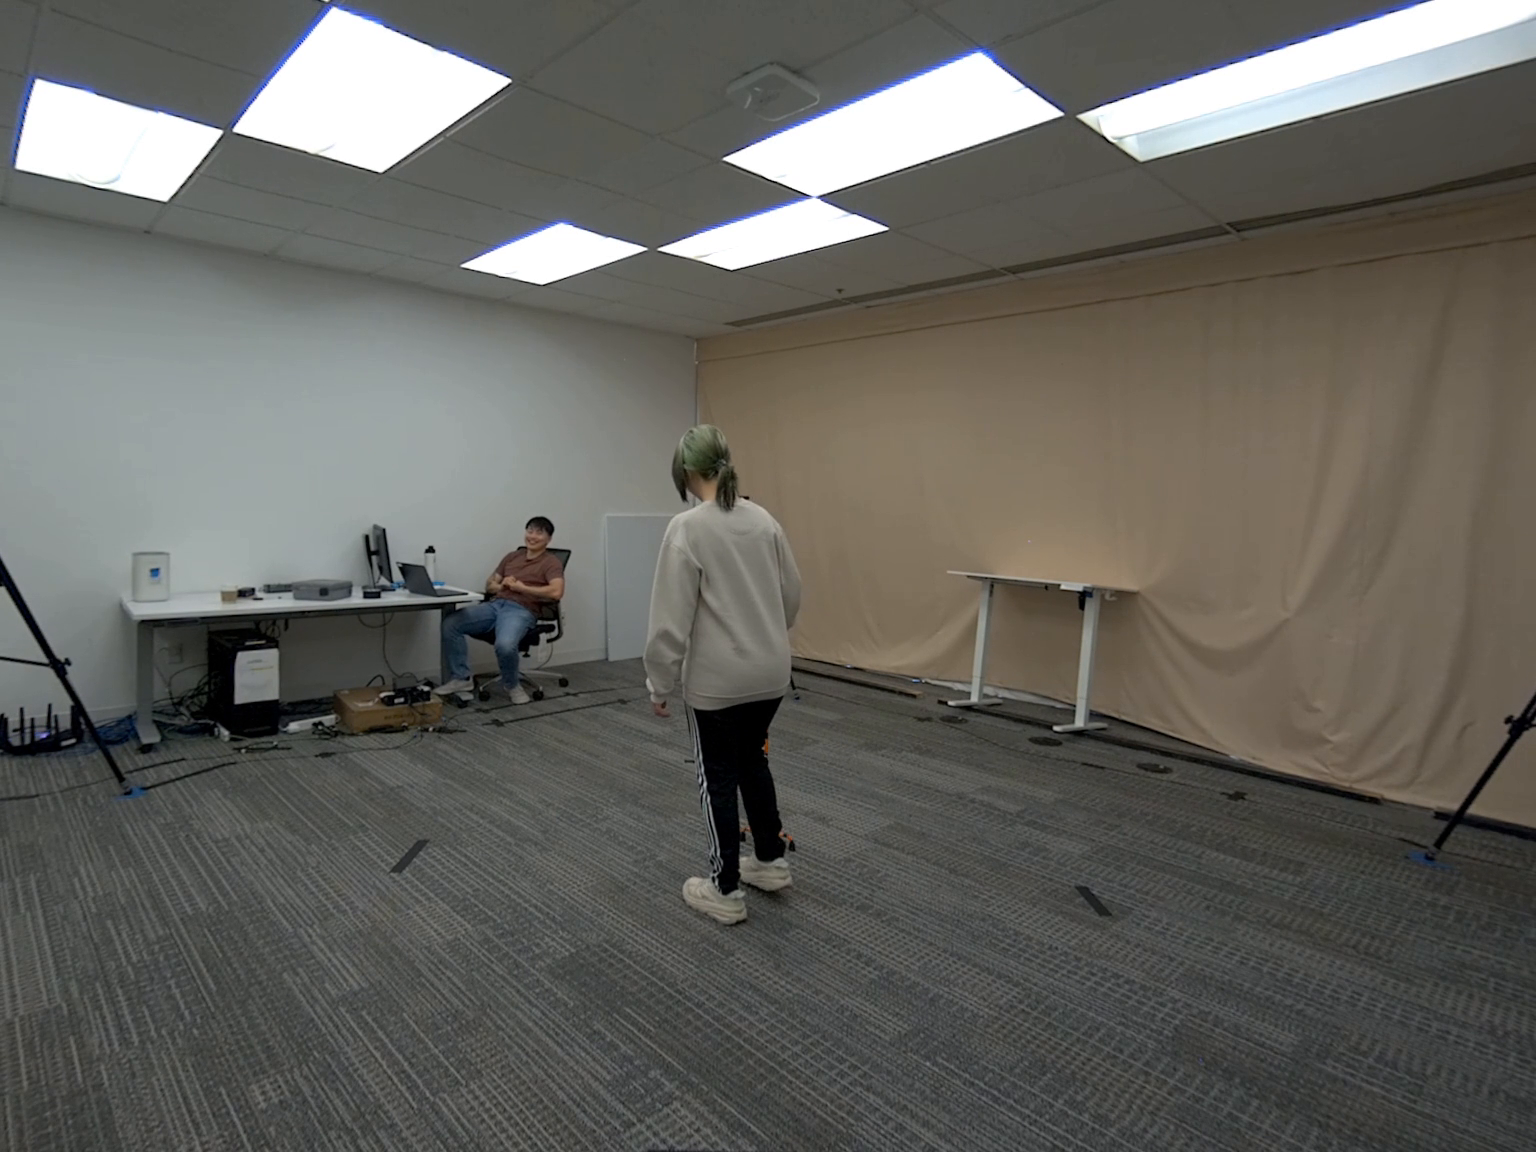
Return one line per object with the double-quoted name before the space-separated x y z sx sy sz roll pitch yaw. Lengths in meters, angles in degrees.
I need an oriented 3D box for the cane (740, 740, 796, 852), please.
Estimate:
"cane" 0.001 0.628 3.358 0.148 0.906 0.211 0 4 -34
